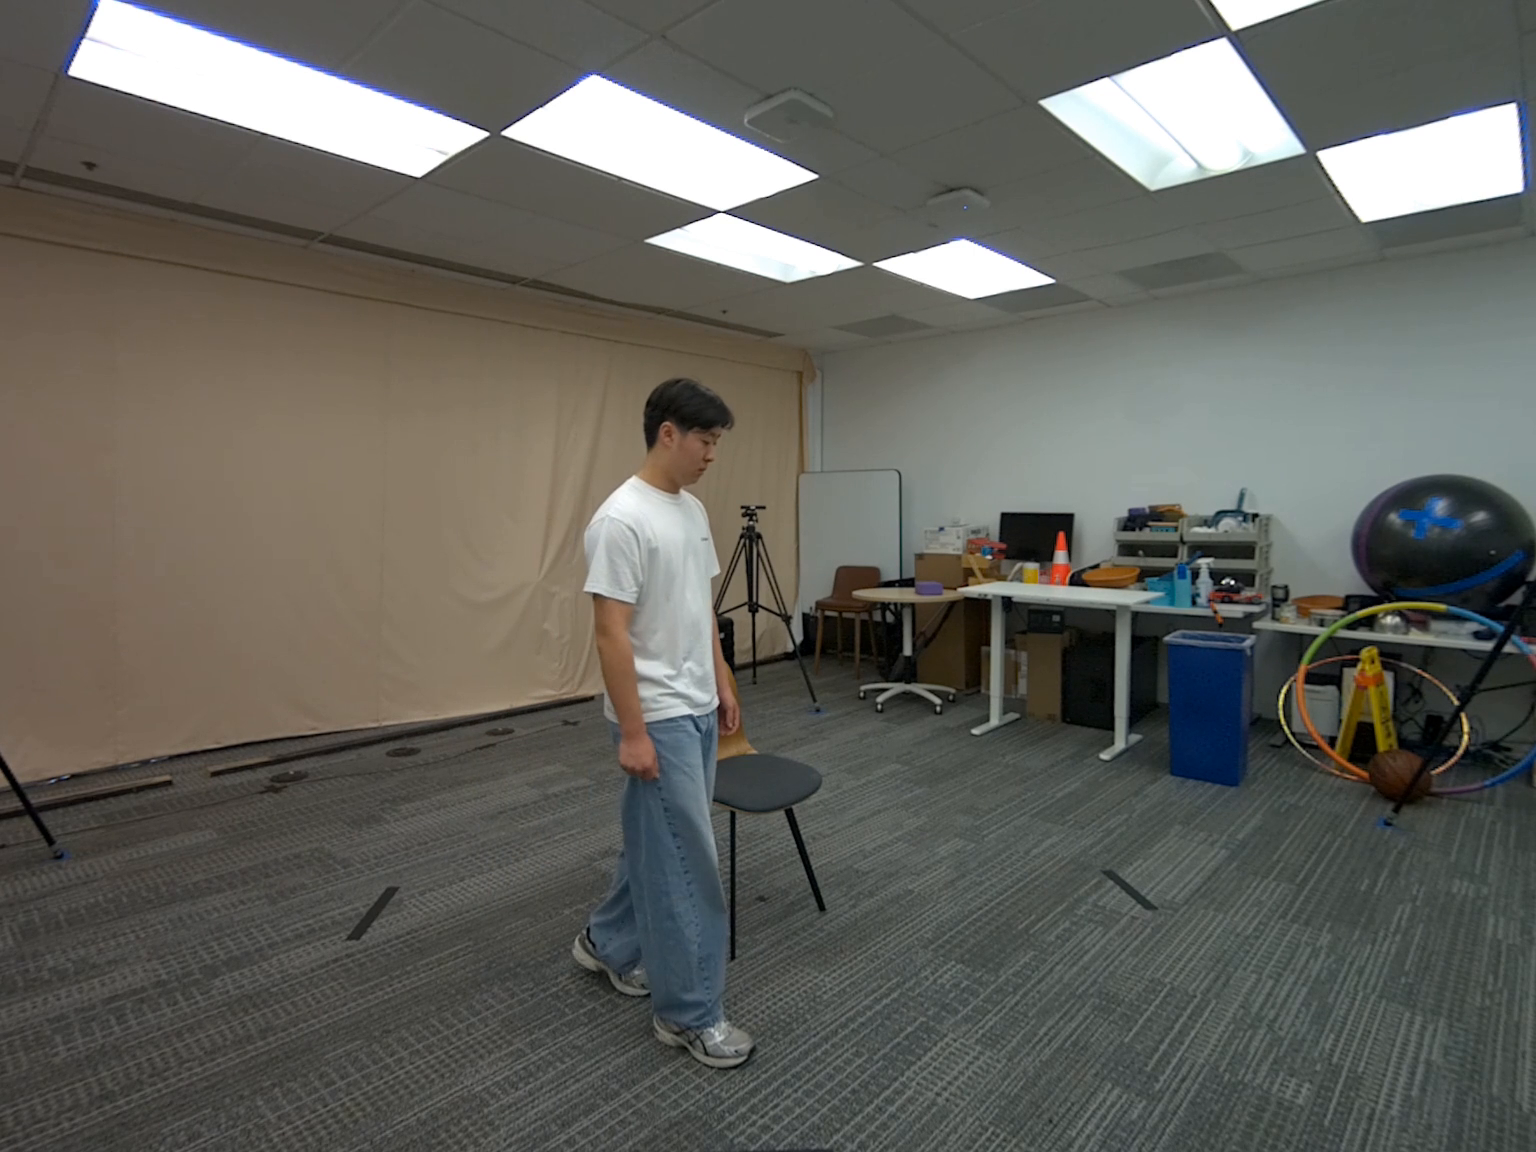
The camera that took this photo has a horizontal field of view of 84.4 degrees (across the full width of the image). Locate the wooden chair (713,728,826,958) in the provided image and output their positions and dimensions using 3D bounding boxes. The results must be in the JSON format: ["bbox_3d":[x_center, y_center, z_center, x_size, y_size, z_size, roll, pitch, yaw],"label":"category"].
[{"bbox_3d":[-0.111,0.727,2.862,0.539,0.877,0.463,-3,0,45],"label":"wooden chair"}]
